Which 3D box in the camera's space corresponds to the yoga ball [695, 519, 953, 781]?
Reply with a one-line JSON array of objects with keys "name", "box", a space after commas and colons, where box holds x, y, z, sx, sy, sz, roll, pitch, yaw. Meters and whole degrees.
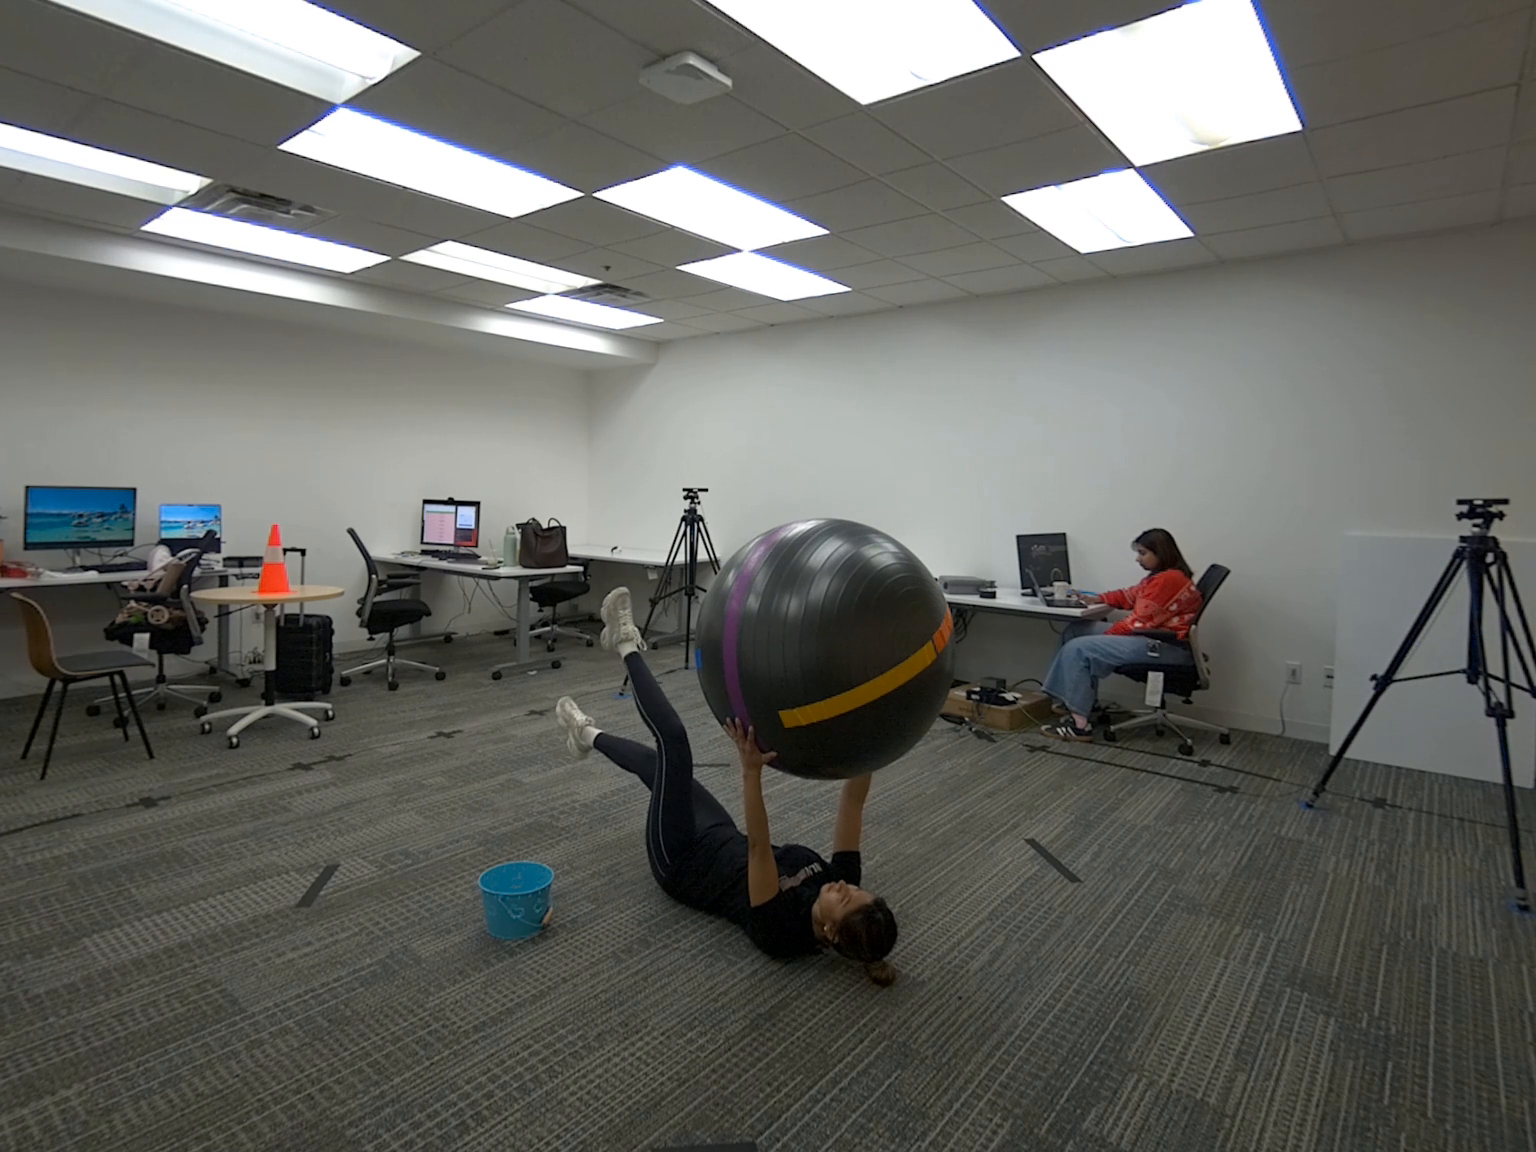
[{"name": "yoga ball", "box": [0.156, 0.208, 2.506, 0.757, 0.756, 0.761, -3, 3, -2]}]
